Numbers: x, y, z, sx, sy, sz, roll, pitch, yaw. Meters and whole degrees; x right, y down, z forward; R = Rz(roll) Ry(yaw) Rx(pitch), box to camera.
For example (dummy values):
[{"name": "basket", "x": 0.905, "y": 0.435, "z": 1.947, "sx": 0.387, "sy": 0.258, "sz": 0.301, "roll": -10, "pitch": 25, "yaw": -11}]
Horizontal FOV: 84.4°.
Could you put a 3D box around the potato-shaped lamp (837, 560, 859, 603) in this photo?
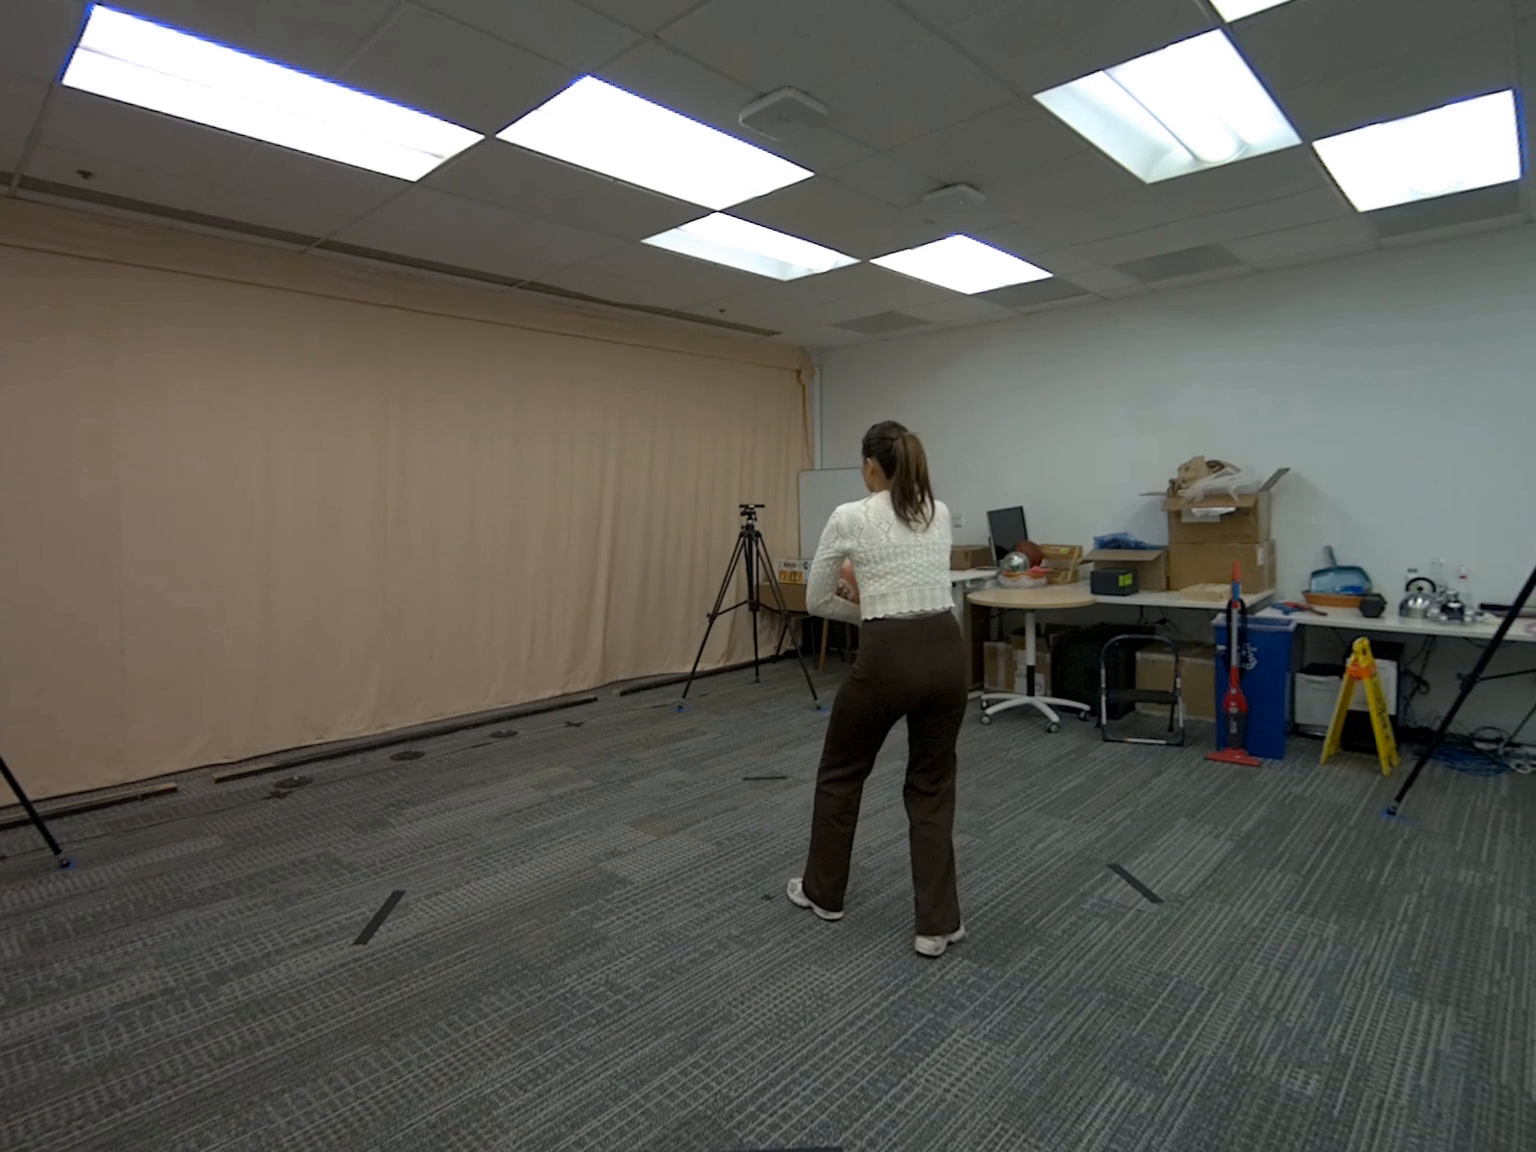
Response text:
[{"name": "potato-shaped lamp", "x": 0.342, "y": -0.006, "z": 2.922, "sx": 0.196, "sy": 0.174, "sz": 0.163, "roll": -37, "pitch": -16, "yaw": -25}]
